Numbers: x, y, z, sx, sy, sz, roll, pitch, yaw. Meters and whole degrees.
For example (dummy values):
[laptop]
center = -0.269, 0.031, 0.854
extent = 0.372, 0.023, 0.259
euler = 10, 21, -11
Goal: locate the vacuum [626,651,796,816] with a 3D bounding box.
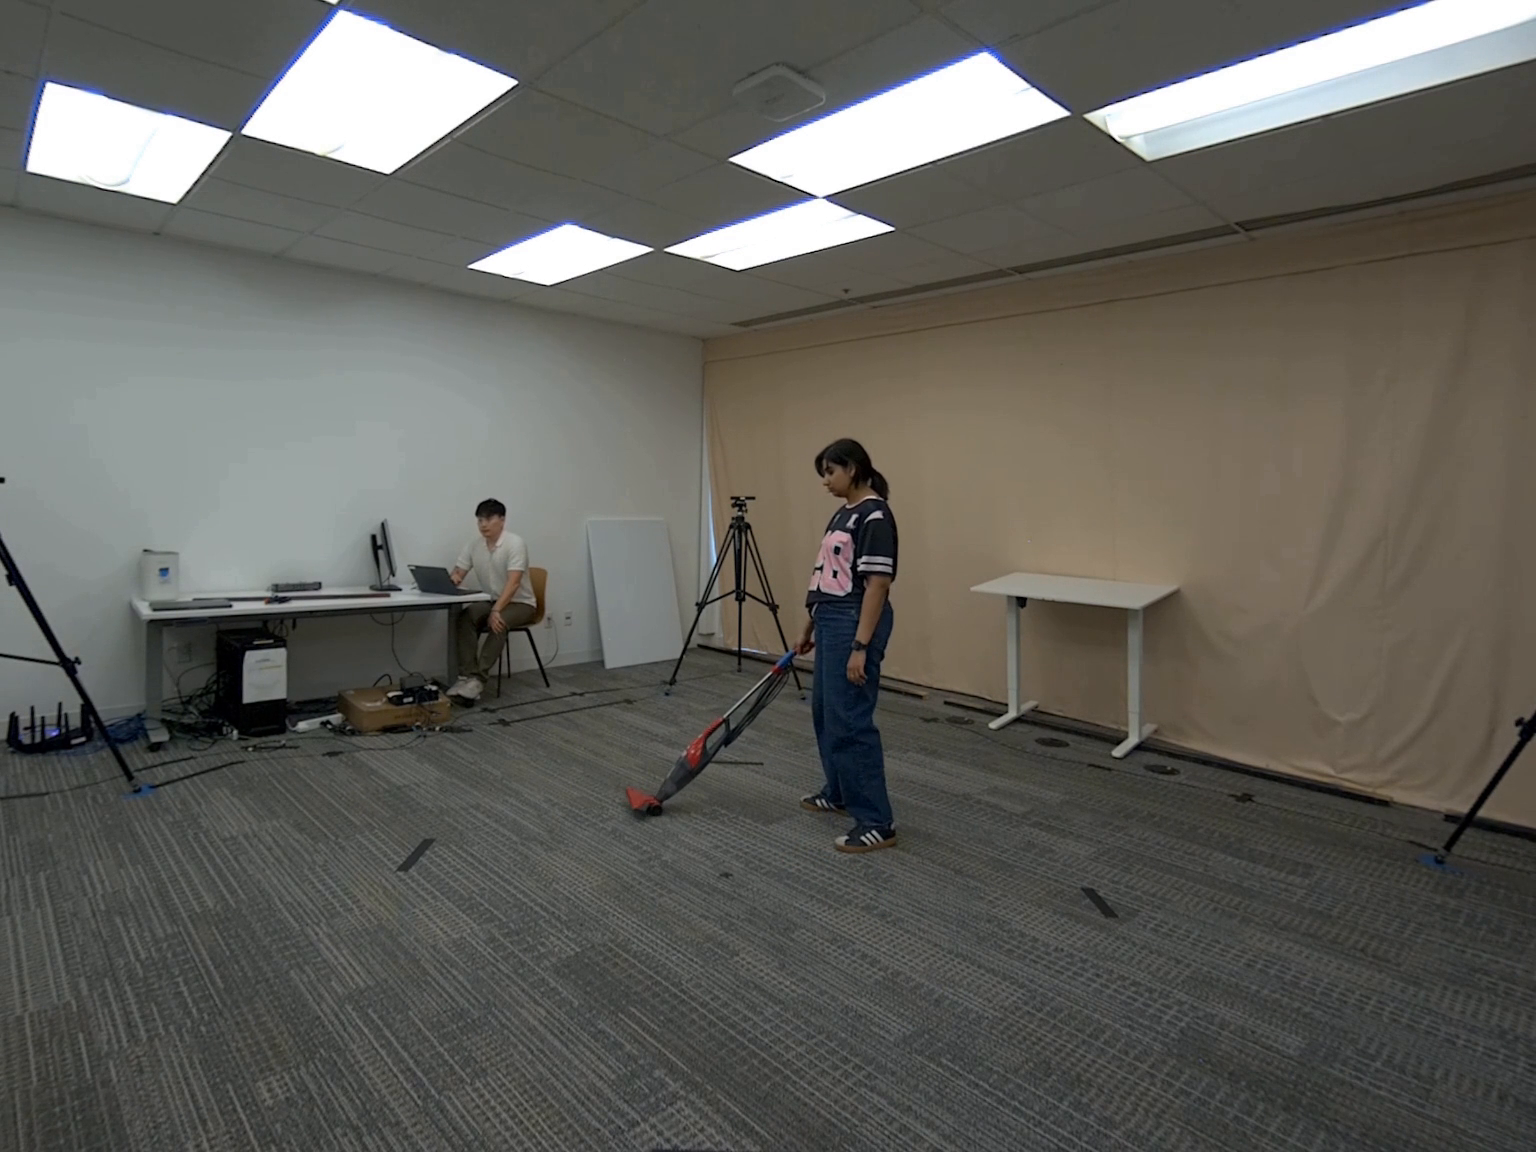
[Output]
[vacuum]
center = -0.172, 0.663, 3.780
extent = 1.048, 0.141, 0.257
euler = -42, 18, -8
